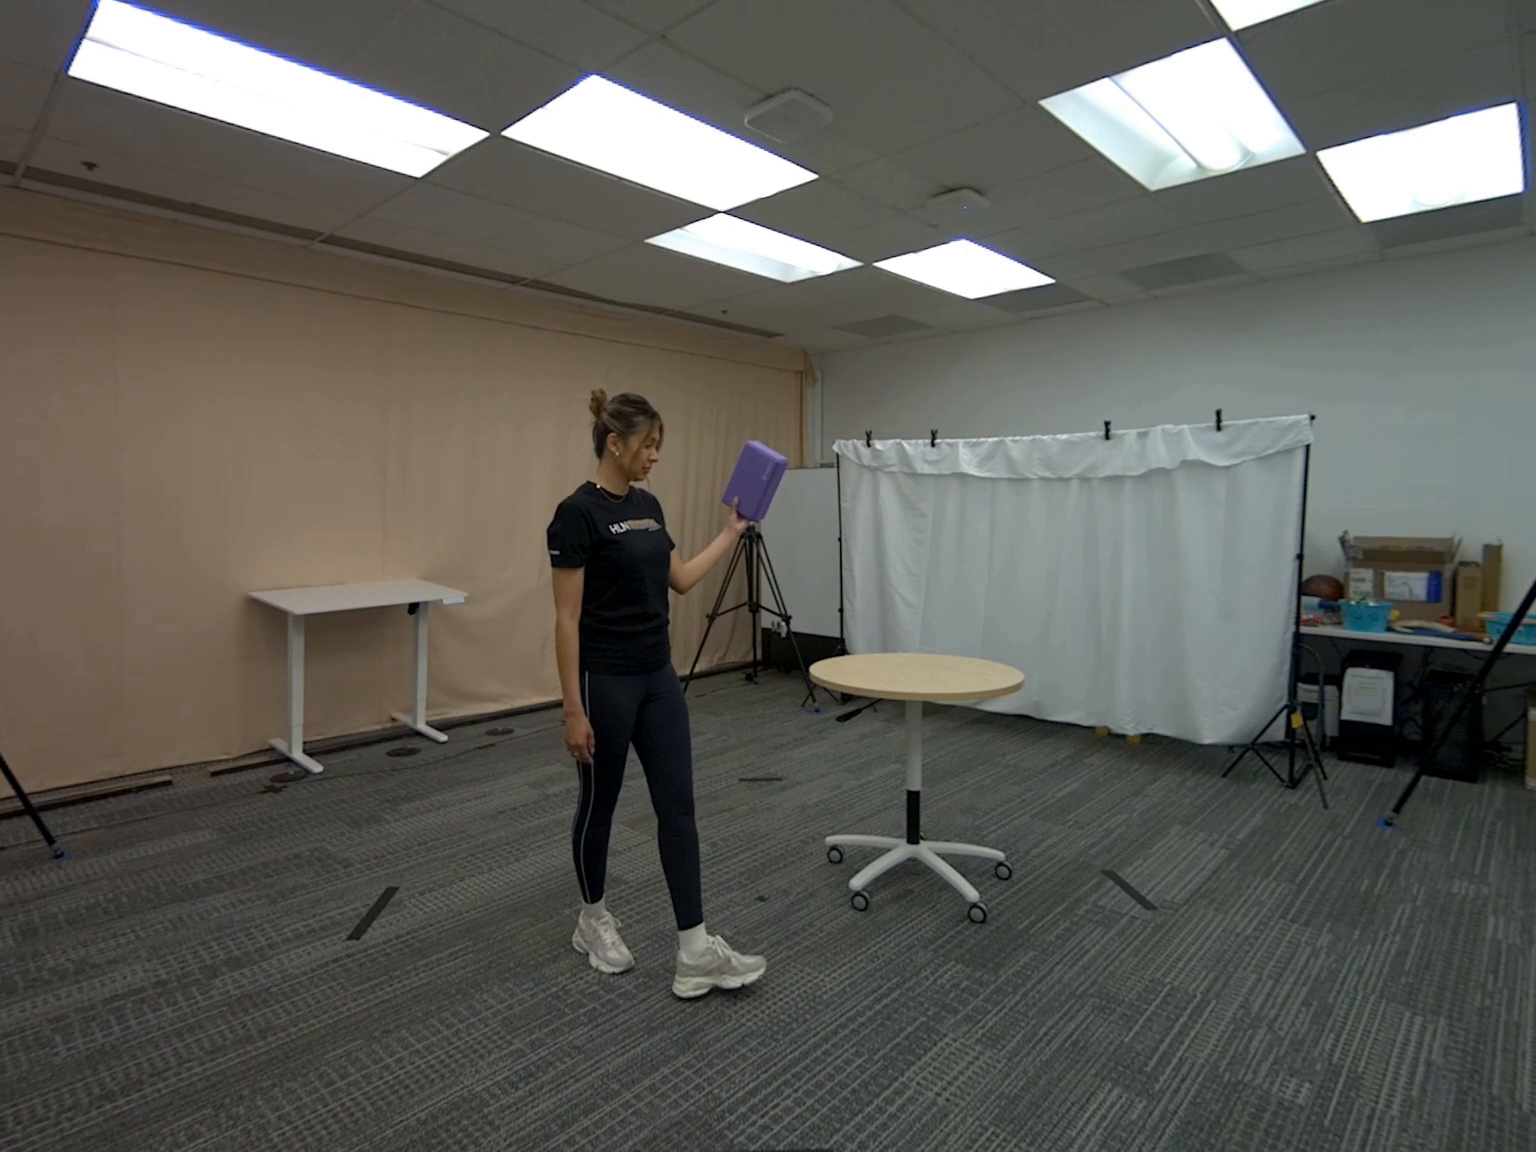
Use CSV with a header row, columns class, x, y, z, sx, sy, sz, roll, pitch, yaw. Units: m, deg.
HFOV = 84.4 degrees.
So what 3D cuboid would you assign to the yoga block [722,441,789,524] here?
class,x,y,z,sx,sy,sz,roll,pitch,yaw
yoga block,-0.044,-0.315,2.795,0.153,0.229,0.074,34,23,24
